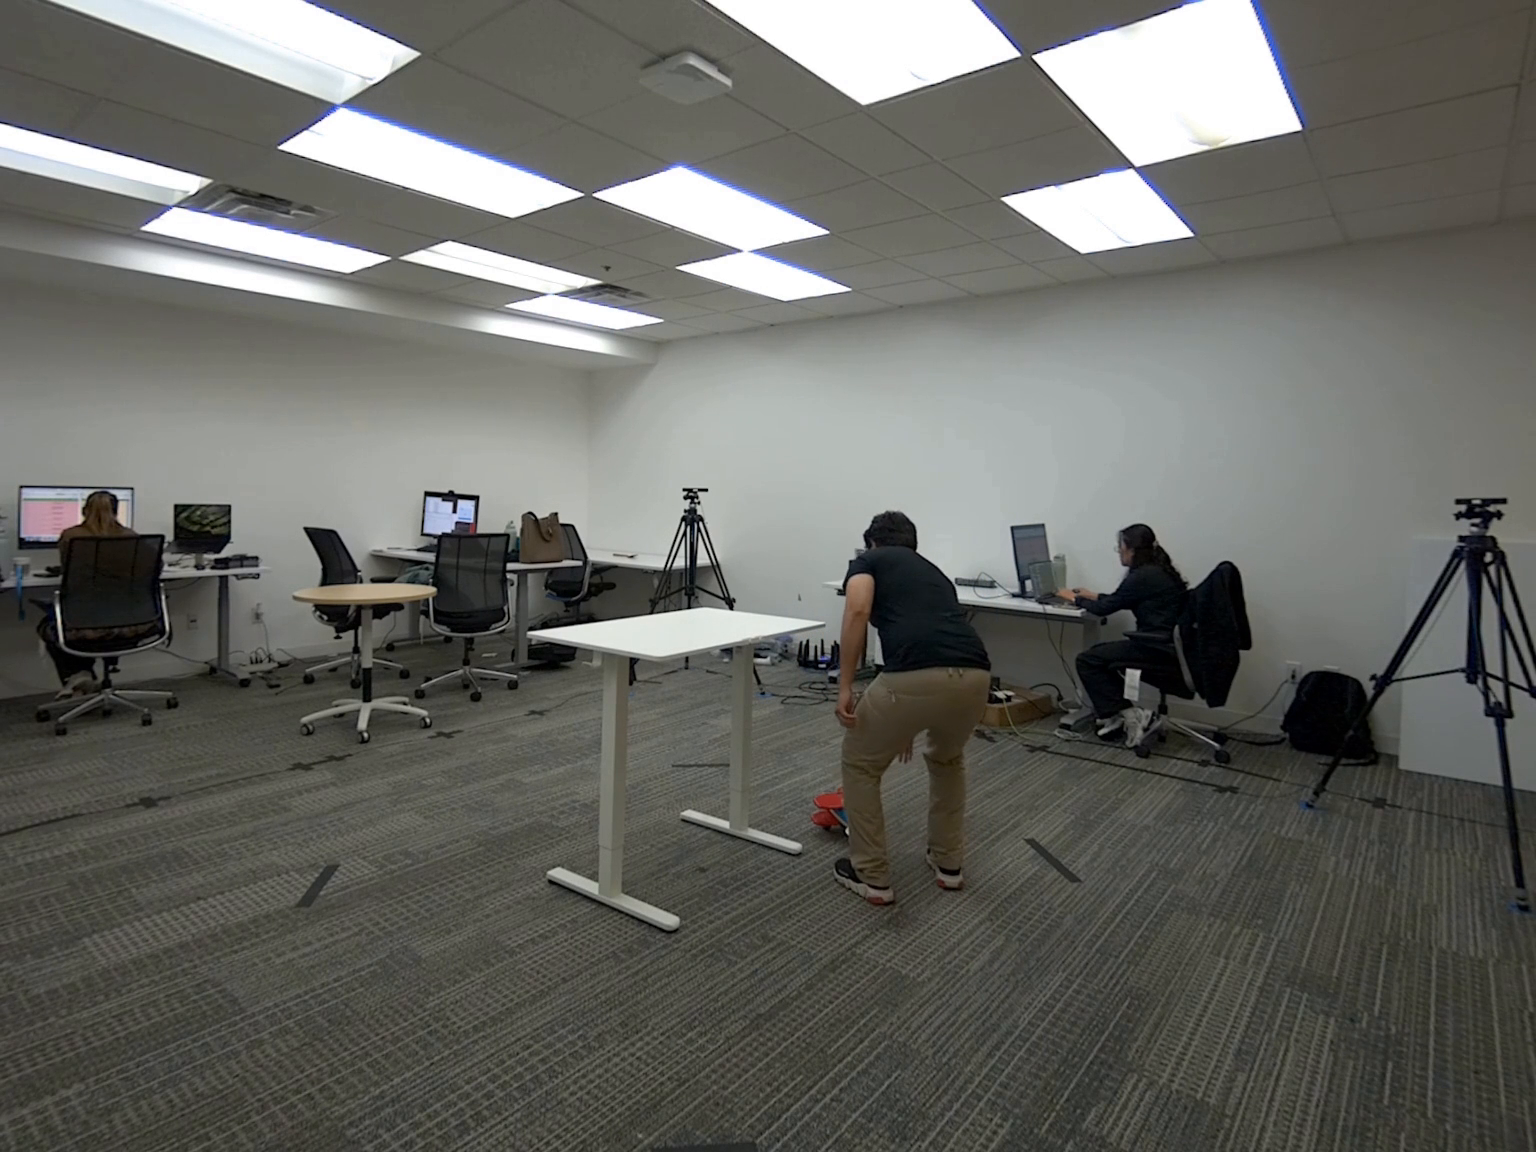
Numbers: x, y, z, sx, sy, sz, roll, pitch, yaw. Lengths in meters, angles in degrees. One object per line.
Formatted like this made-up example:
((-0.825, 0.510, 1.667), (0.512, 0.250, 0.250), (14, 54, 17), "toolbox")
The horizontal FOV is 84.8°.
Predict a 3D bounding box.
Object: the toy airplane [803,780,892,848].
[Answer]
((0.325, 0.972, 3.444), (0.268, 0.156, 0.243), (3, 4, 40), "toy airplane")
